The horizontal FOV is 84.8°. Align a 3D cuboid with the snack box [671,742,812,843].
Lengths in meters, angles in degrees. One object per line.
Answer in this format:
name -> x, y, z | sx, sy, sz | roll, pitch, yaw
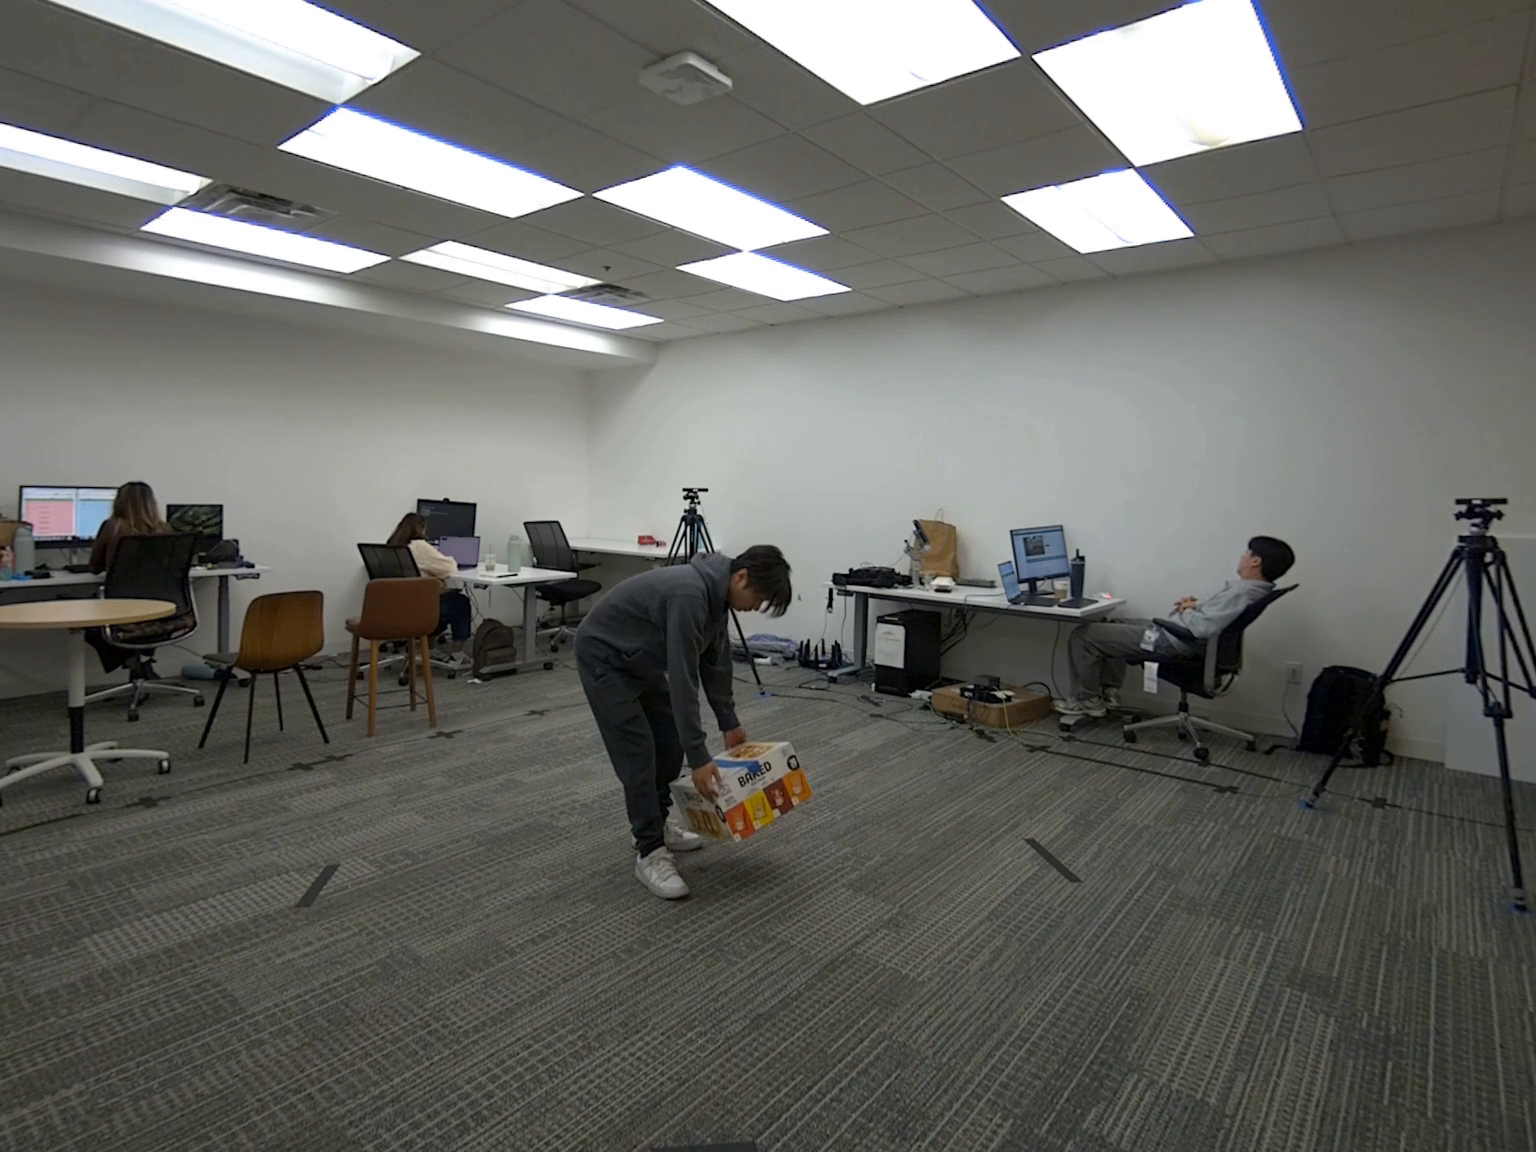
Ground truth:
snack box -> -0.118, 0.773, 3.091 | 0.335, 0.206, 0.410 | -25, 1, -29
